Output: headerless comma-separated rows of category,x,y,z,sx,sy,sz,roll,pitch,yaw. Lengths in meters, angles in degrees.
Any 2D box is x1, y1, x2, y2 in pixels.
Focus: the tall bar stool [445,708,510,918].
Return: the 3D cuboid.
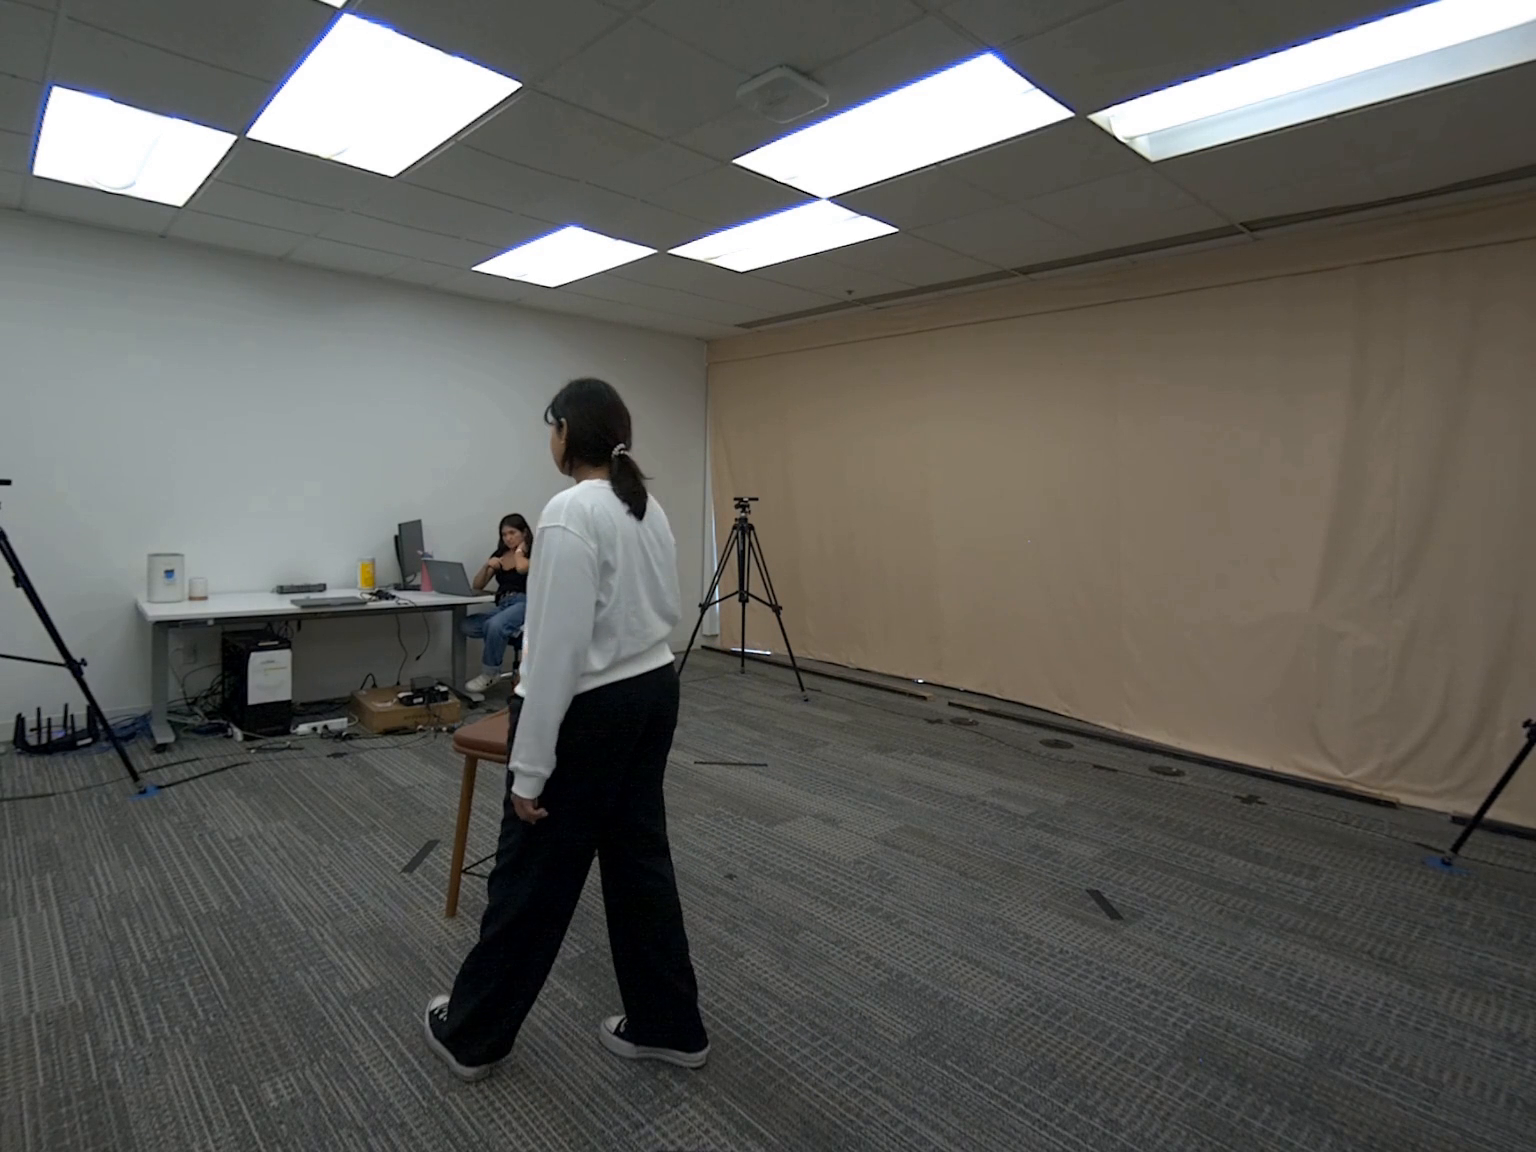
tall bar stool,-0.788,0.685,2.867,0.465,0.888,0.460,3,2,23
